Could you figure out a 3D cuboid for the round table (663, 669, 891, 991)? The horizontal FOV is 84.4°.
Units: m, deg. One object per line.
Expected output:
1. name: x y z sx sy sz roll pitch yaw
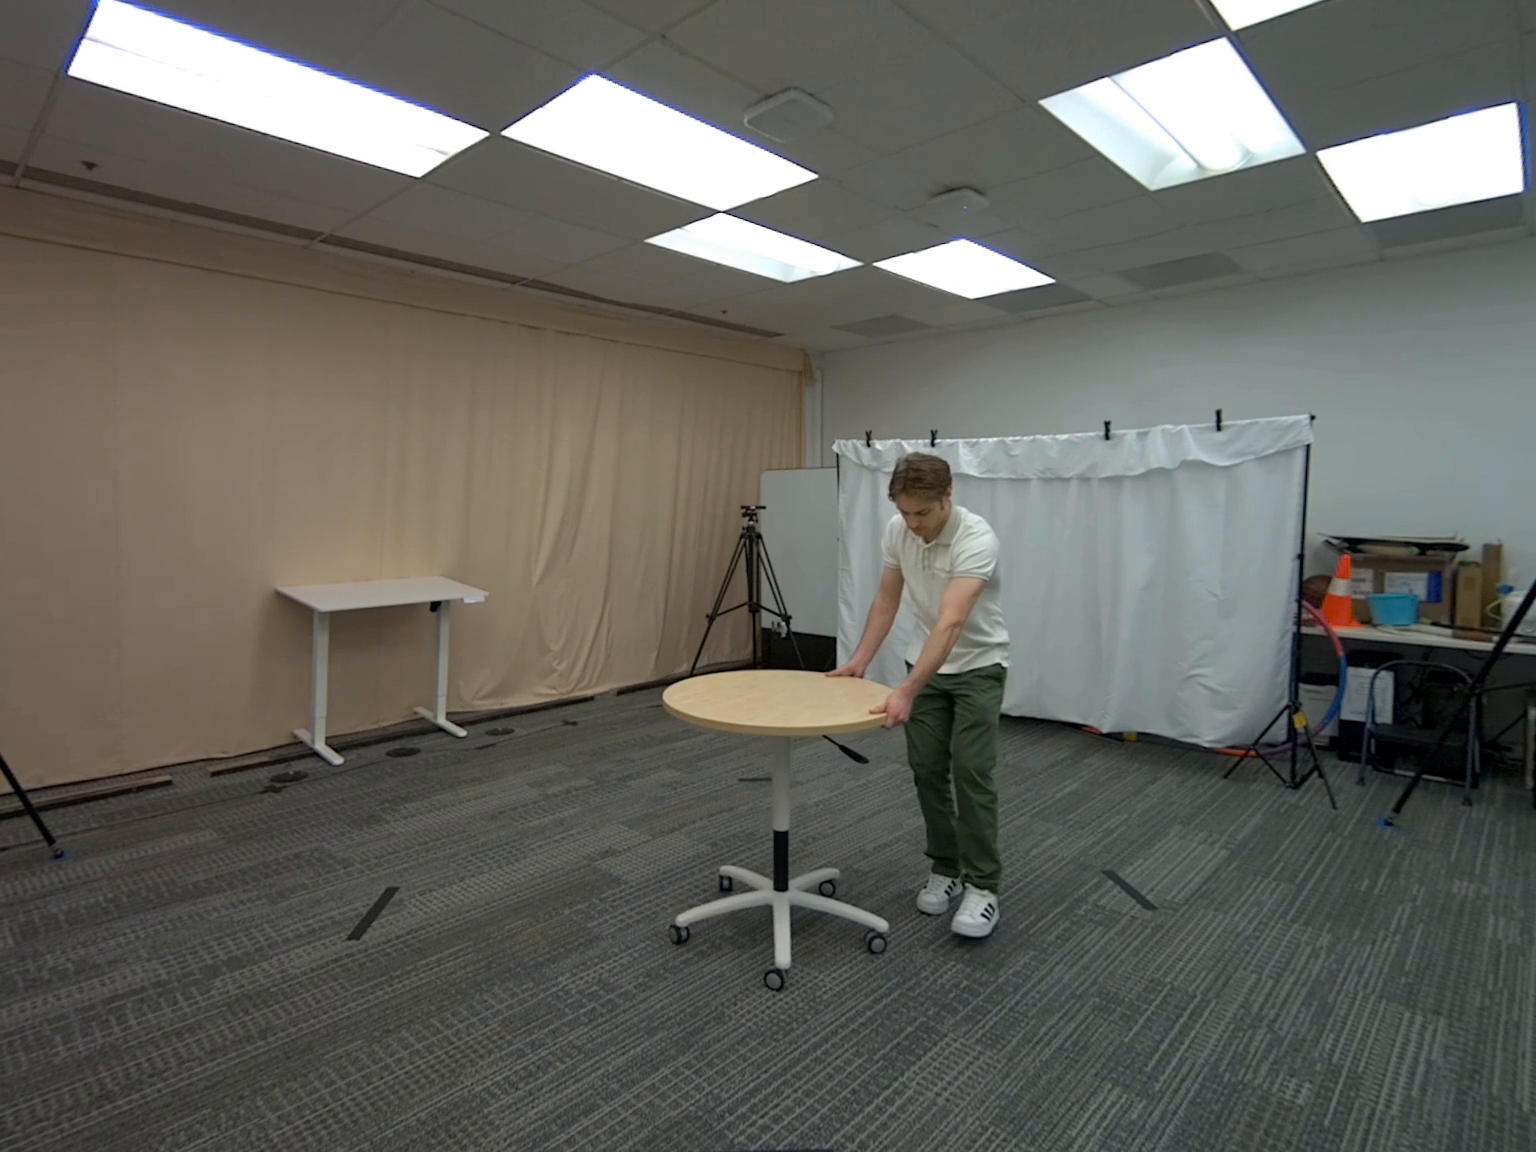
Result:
1. round table: 0.056 0.771 2.747 0.784 0.784 0.788 1 4 -2
